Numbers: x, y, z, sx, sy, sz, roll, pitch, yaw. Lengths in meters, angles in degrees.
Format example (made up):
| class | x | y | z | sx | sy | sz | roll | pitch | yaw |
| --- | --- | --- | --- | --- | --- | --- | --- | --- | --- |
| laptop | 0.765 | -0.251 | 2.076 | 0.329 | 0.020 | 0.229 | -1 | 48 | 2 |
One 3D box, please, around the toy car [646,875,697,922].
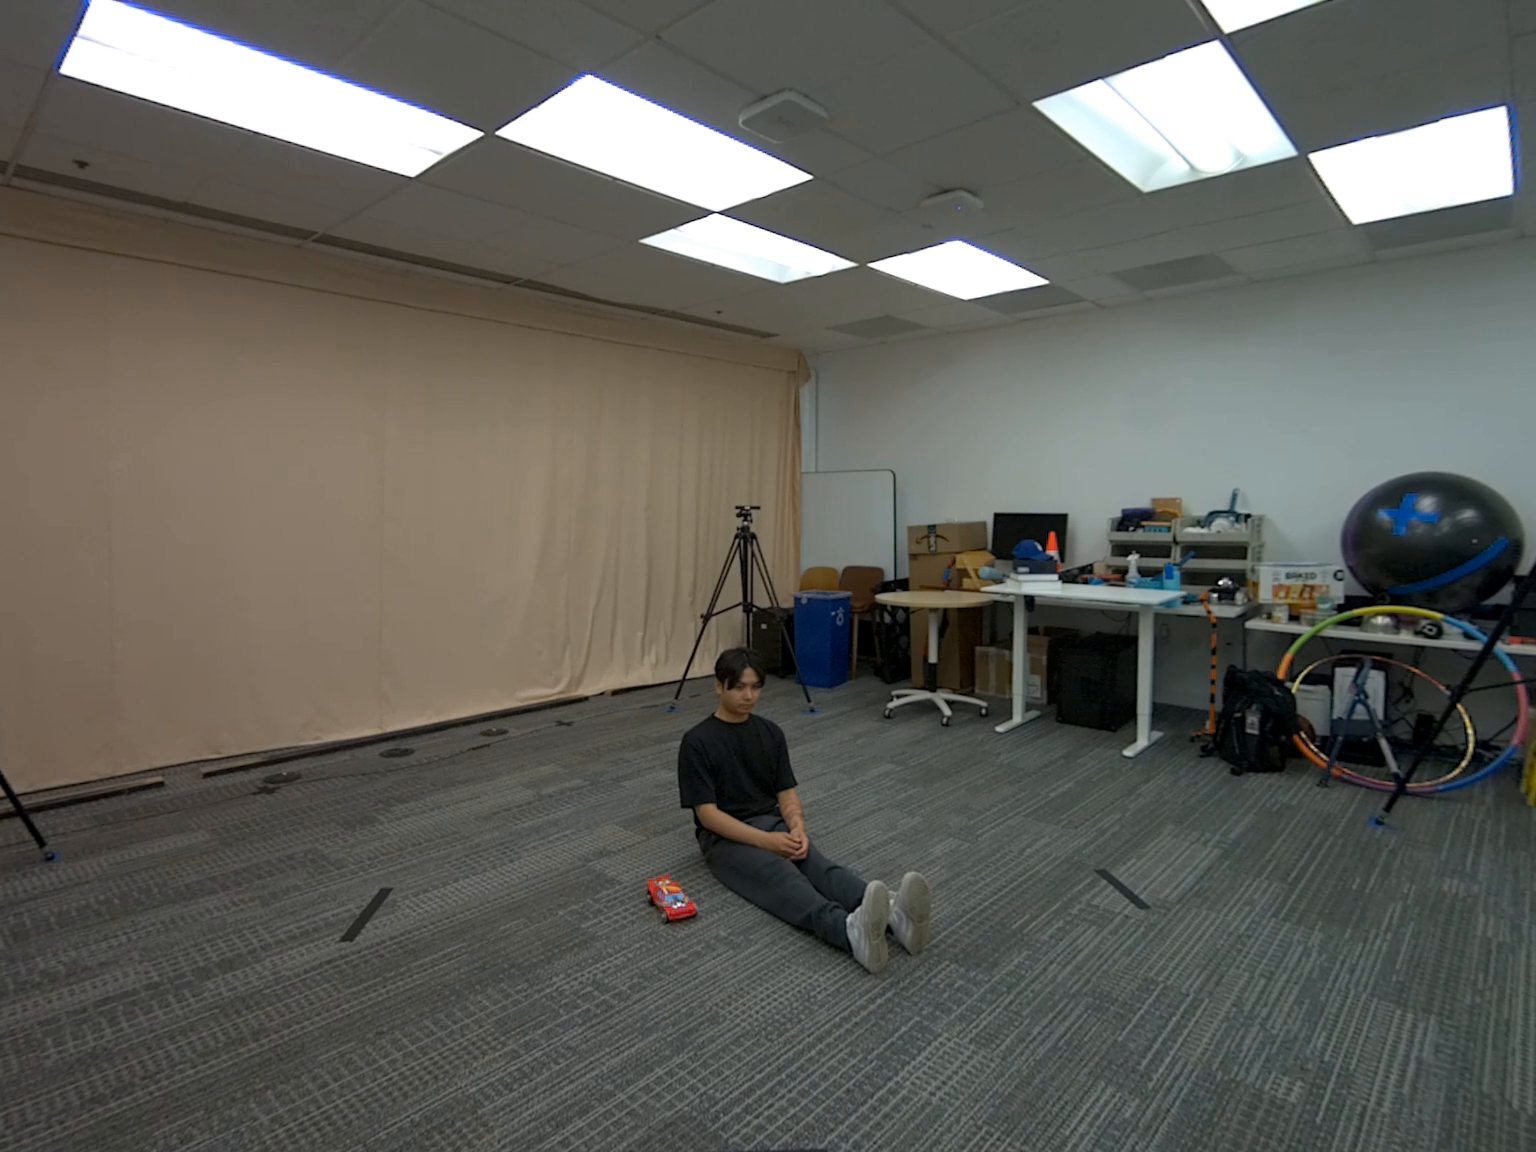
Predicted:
| class | x | y | z | sx | sy | sz | roll | pitch | yaw |
| --- | --- | --- | --- | --- | --- | --- | --- | --- | --- |
| toy car | -0.349 | 1.124 | 2.920 | 0.127 | 0.082 | 0.262 | -3 | 16 | -25 |
